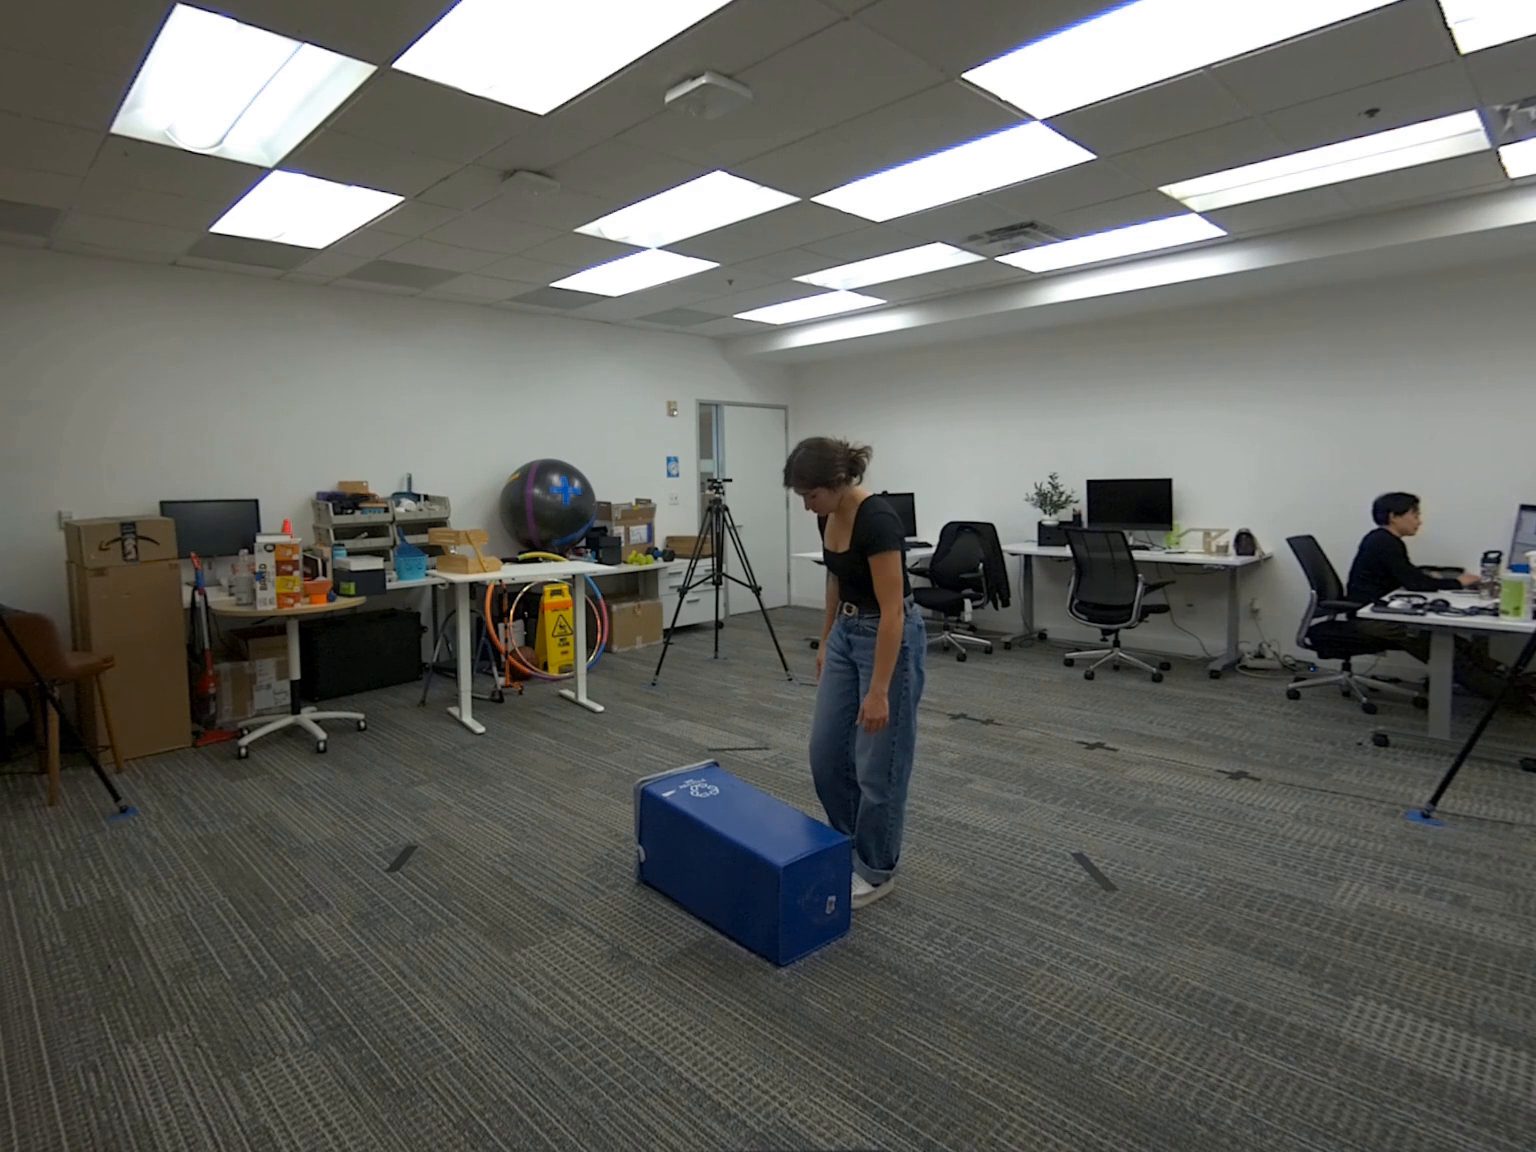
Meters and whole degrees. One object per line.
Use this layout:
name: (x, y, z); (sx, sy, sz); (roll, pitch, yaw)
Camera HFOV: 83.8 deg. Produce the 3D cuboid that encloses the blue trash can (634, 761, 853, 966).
blue trash can: (-0.090, 0.921, 2.781); (0.368, 0.372, 0.737); (-4, 10, -39)
